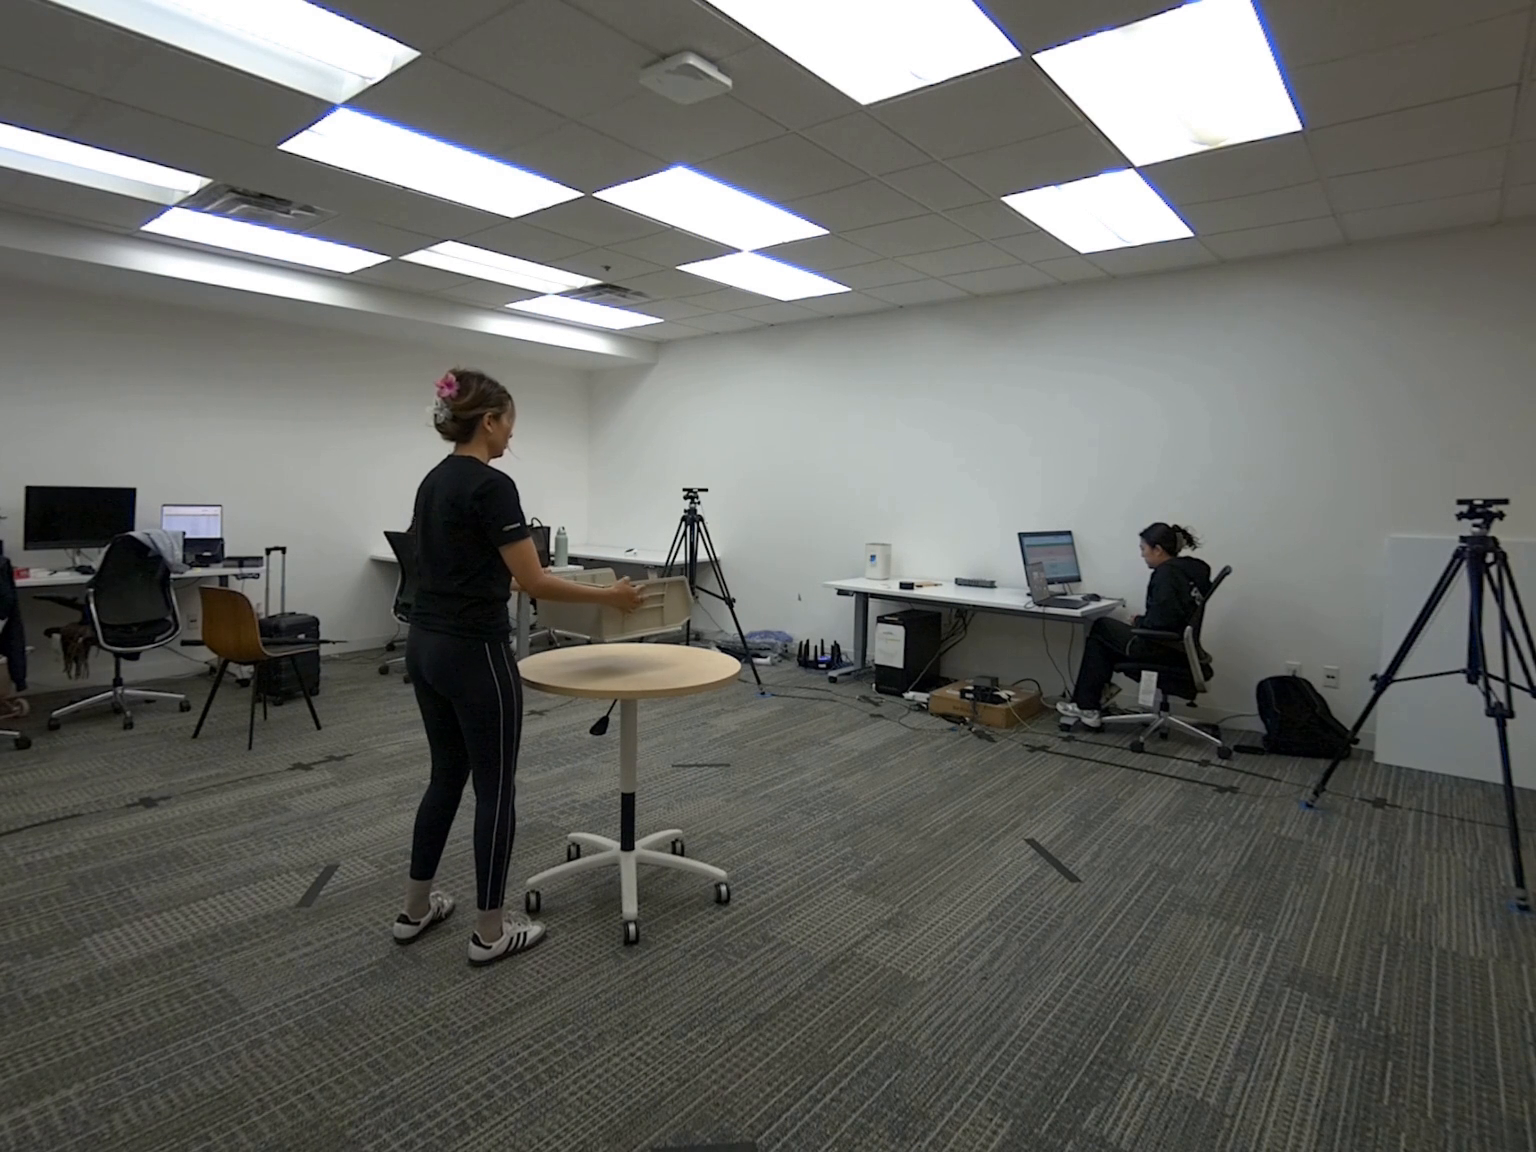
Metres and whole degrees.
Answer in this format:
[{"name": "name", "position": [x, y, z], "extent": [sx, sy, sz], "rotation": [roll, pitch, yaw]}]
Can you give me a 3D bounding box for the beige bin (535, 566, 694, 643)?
[{"name": "beige bin", "position": [-0.542, 0.089, 2.892], "extent": [0.367, 0.188, 0.437], "rotation": [-8, 10, -44]}]
